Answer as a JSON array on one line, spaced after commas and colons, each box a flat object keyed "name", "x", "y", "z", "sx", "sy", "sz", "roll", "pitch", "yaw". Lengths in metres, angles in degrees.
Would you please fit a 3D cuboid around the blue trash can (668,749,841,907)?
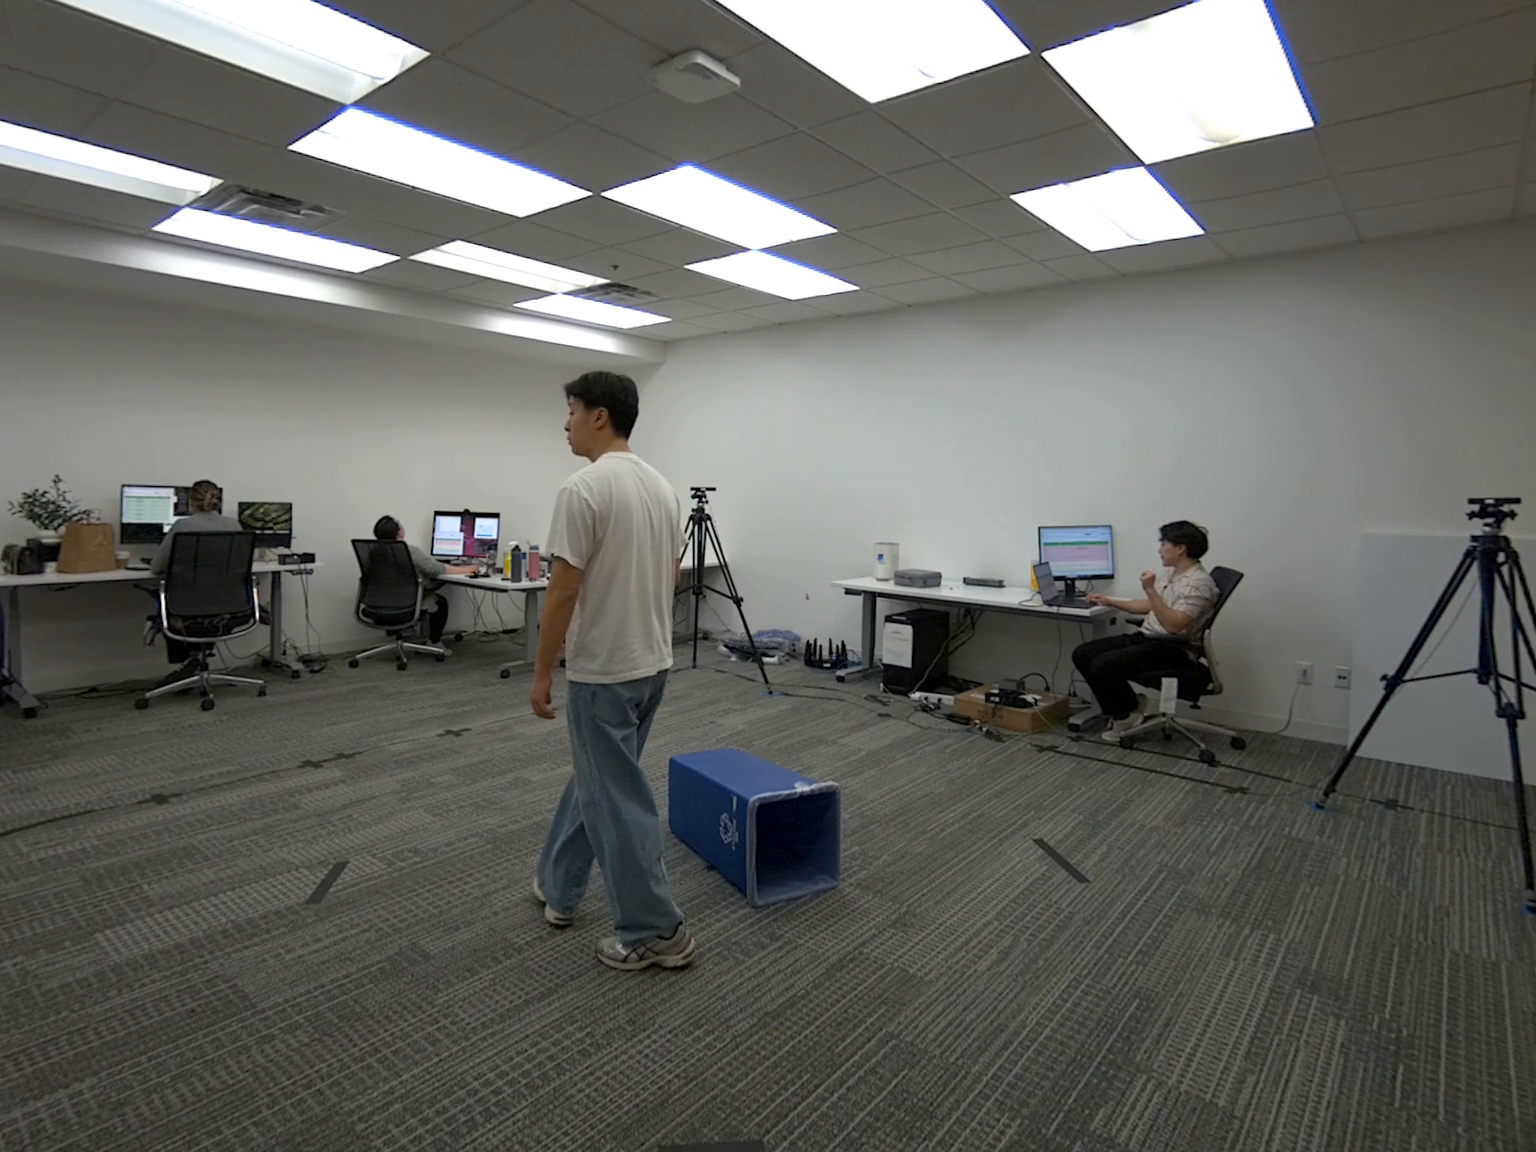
[{"name": "blue trash can", "x": -0.102, "y": 0.895, "z": 3.198, "sx": 0.364, "sy": 0.377, "sz": 0.734, "roll": -2, "pitch": 3, "yaw": -32}]
